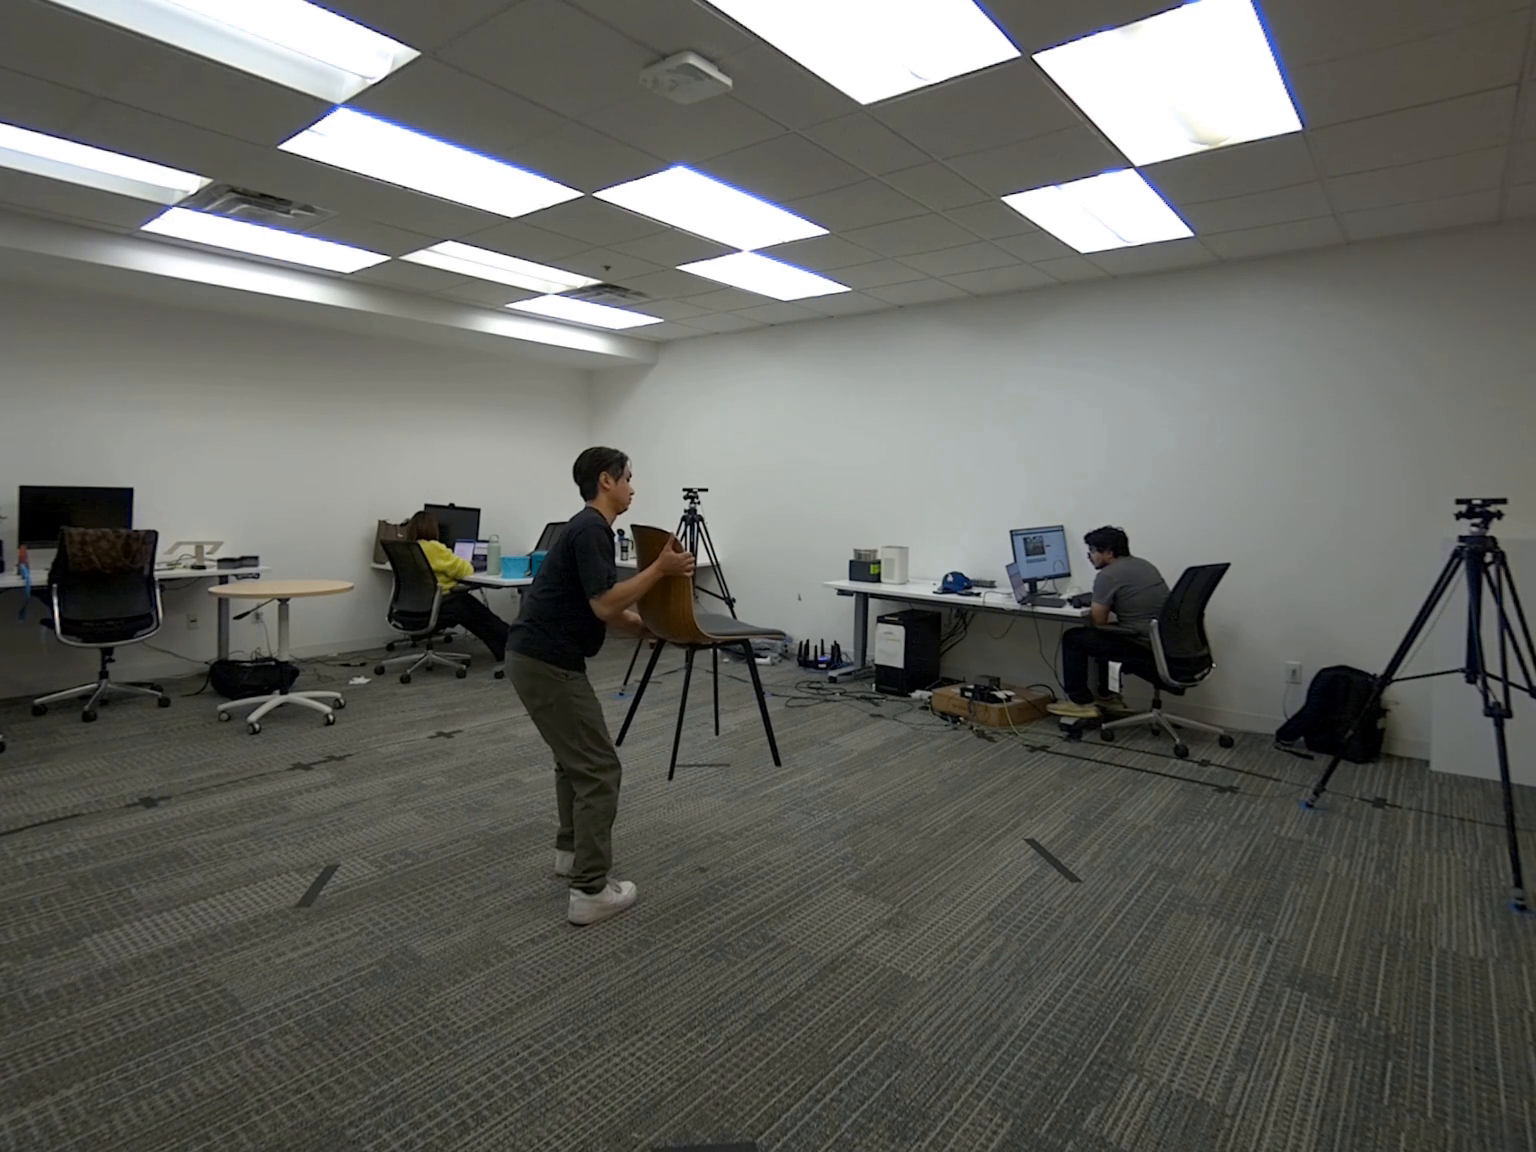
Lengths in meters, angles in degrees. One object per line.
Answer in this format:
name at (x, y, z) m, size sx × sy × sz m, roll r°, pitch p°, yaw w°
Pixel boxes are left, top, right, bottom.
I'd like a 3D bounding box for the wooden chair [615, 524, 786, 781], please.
wooden chair at (-0.243, 0.243, 3.116) m, size 0.509 × 0.874 × 0.493 m, roll -3°, pitch 5°, yaw -33°
